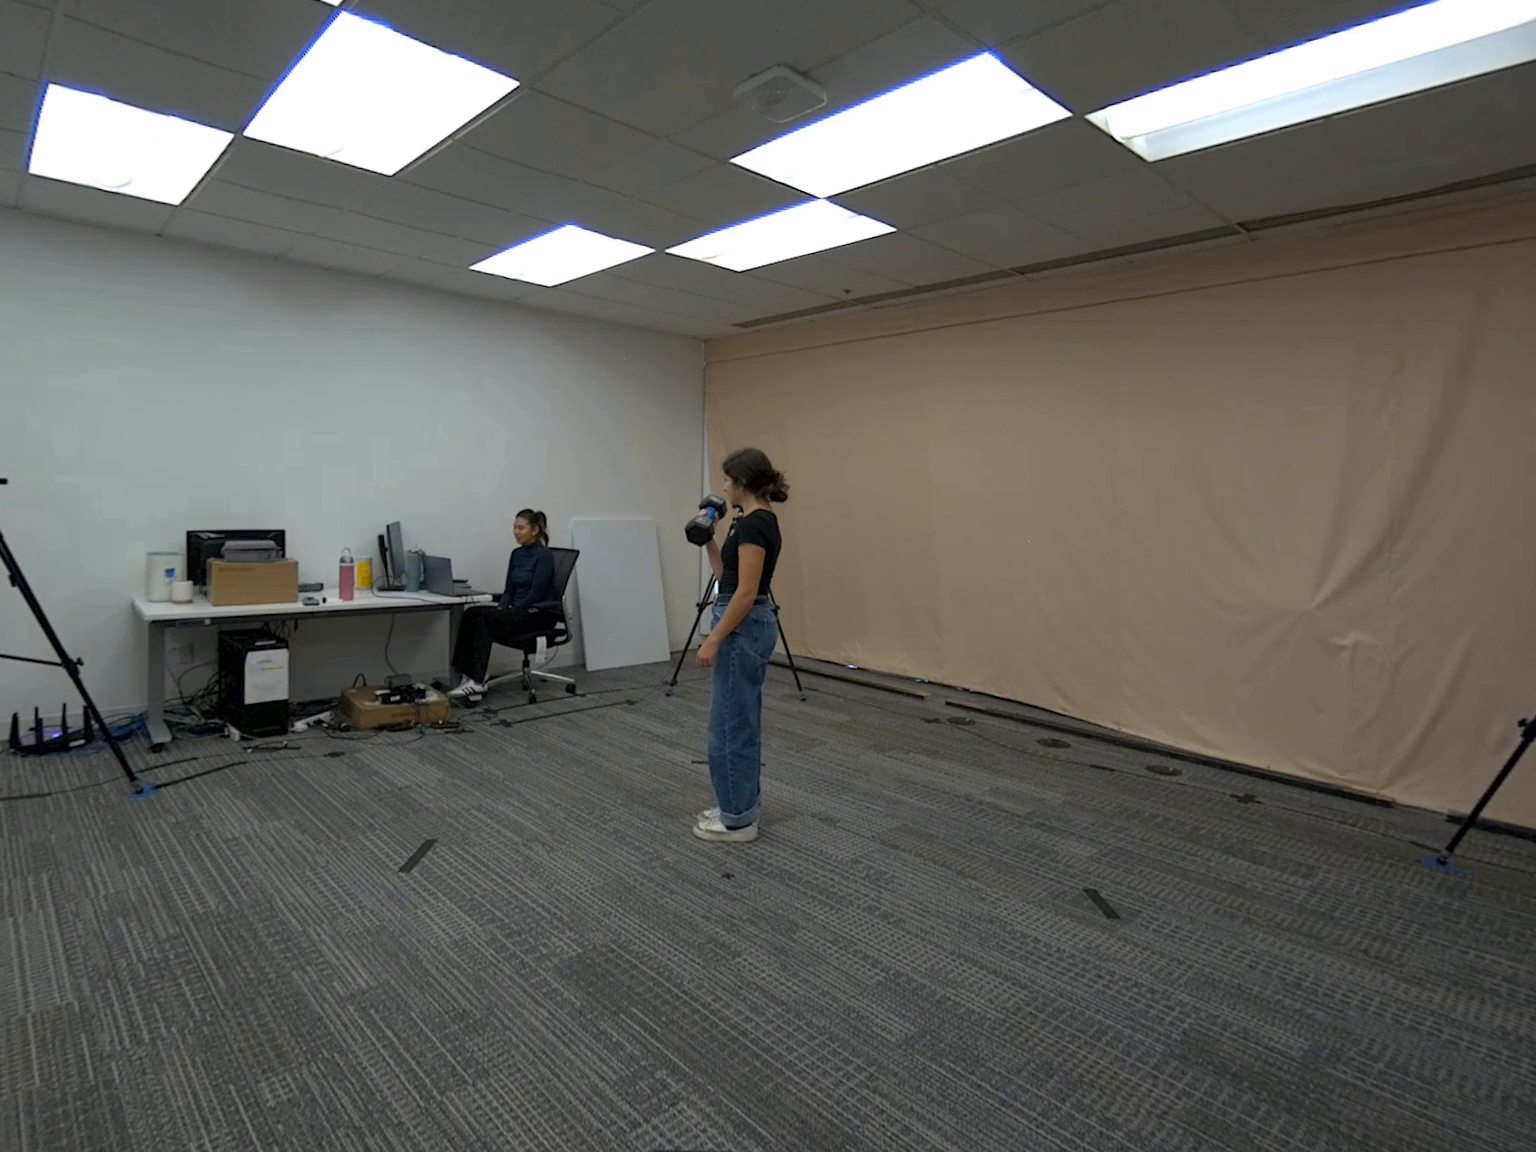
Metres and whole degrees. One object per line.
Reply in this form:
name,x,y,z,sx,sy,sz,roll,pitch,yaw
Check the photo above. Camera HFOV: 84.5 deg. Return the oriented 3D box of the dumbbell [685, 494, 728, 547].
dumbbell,-0.268,-0.236,3.601,0.110,0.120,0.296,-3,30,16
